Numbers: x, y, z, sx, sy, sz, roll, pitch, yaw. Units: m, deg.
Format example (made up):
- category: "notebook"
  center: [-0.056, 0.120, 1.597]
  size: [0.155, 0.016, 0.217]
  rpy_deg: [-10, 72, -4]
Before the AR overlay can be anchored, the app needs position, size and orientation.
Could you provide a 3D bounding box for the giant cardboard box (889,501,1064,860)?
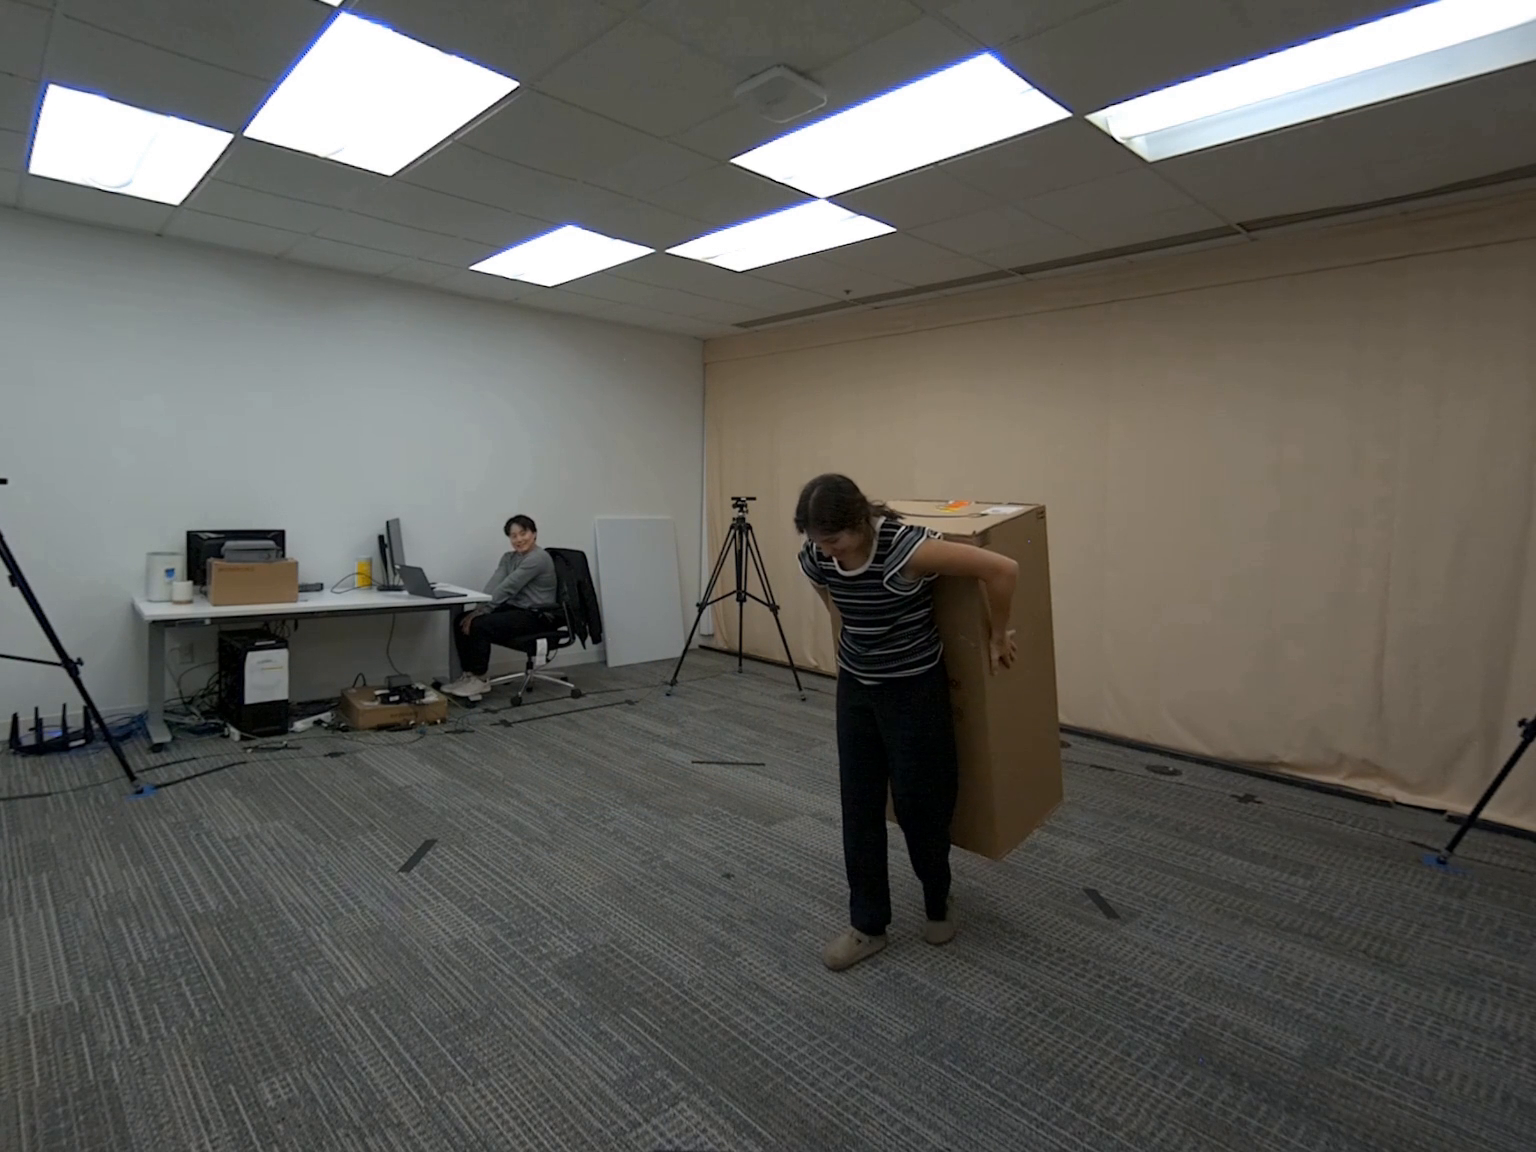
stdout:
- category: "giant cardboard box"
  center: [0.584, 0.301, 2.796]
  size: [0.419, 1.017, 0.592]
  rpy_deg: [-17, 15, -43]
